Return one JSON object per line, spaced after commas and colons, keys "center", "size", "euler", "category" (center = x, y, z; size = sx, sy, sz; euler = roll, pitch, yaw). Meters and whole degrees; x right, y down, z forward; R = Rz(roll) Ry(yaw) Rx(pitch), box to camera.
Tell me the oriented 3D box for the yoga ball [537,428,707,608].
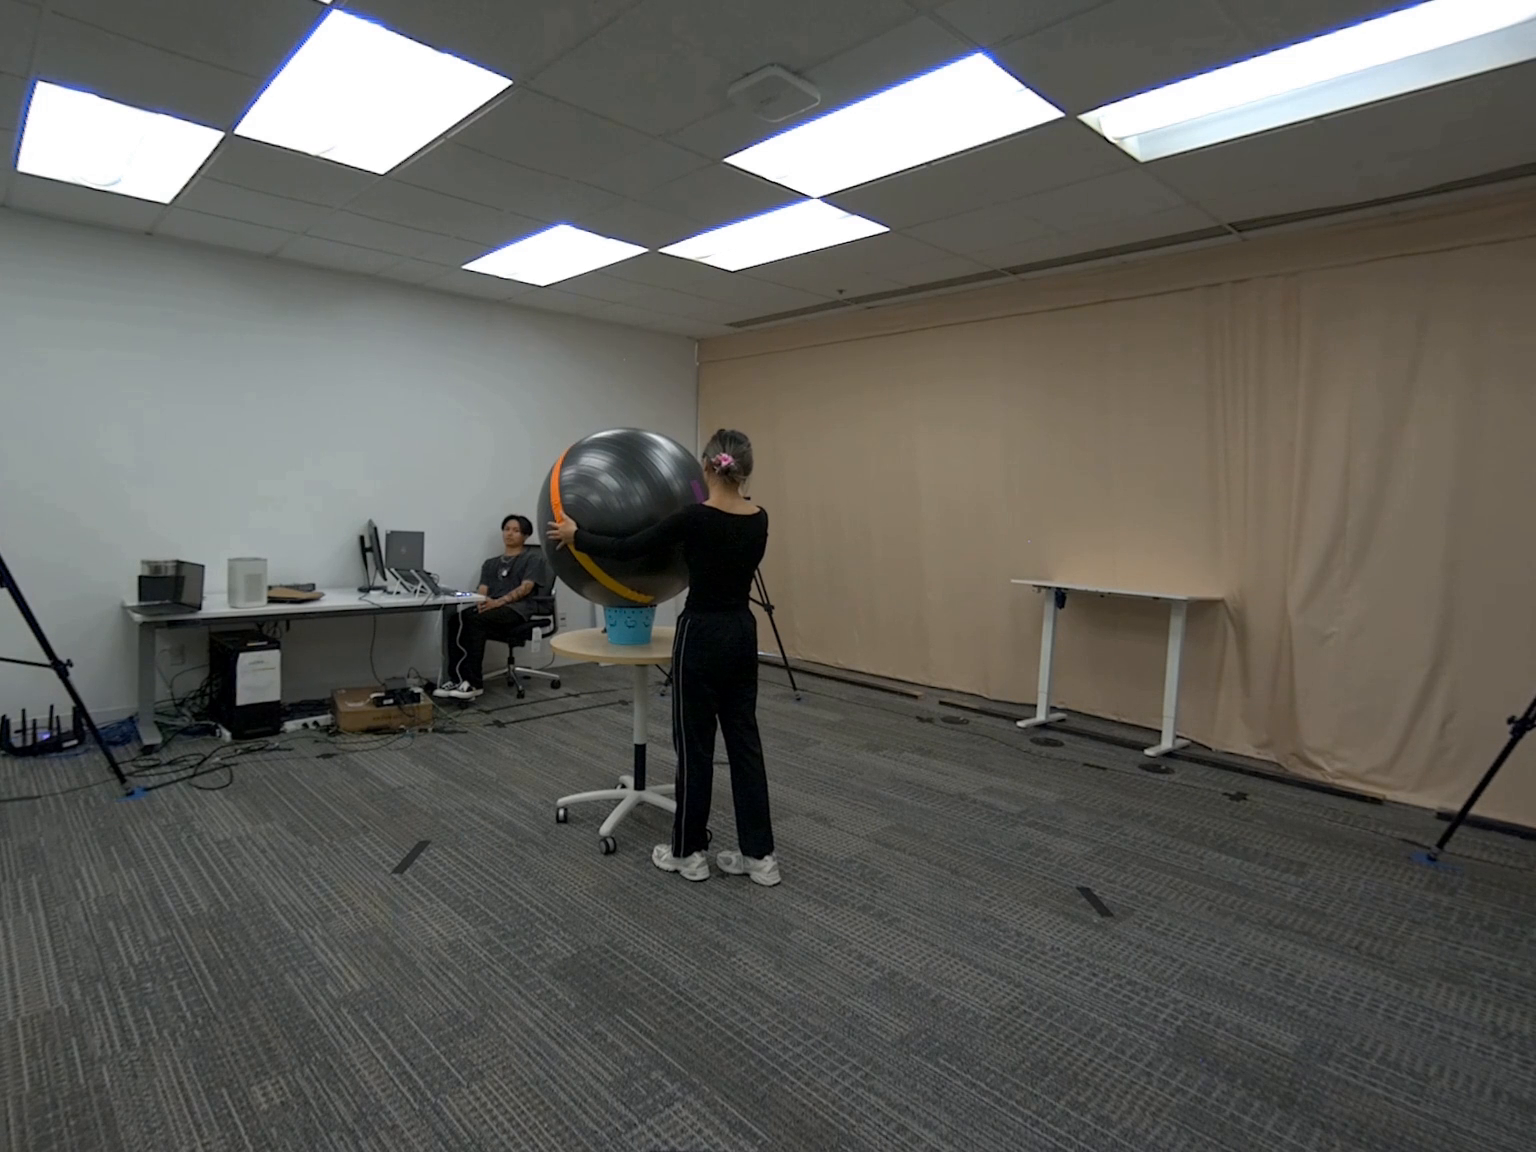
{"center": [-0.593, -0.236, 3.541], "size": [0.757, 0.756, 0.761], "euler": [1, 4, -1], "category": "yoga ball"}
